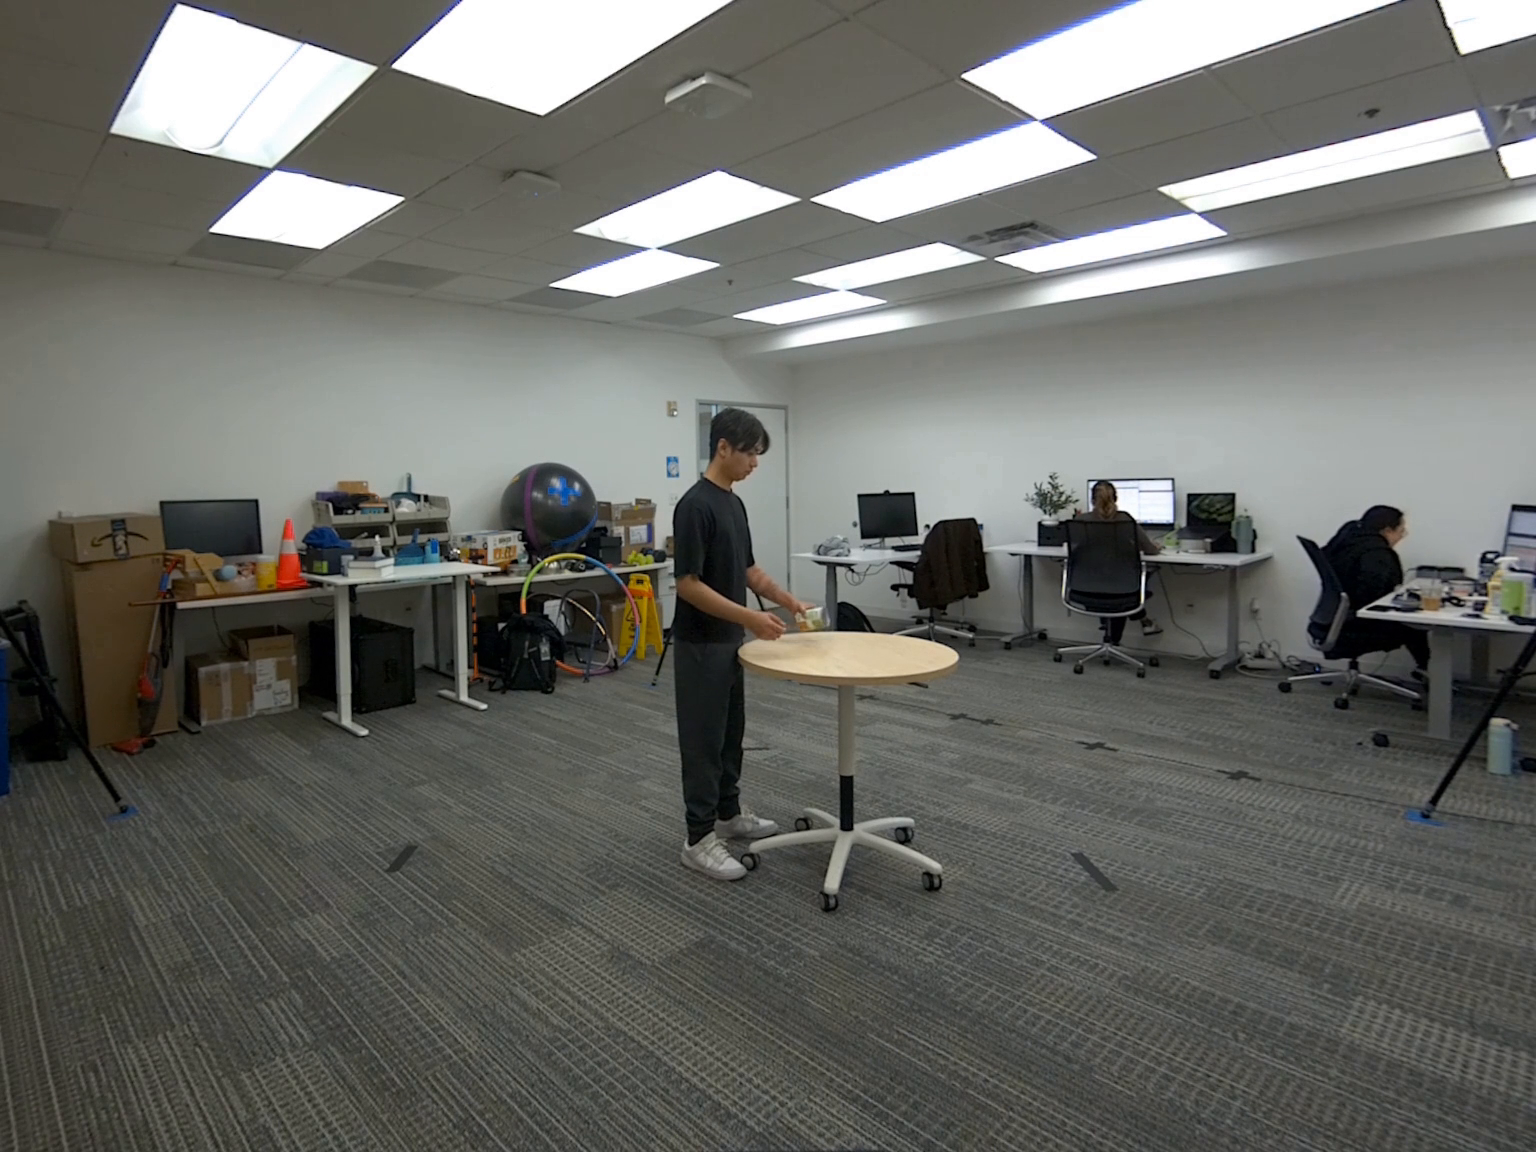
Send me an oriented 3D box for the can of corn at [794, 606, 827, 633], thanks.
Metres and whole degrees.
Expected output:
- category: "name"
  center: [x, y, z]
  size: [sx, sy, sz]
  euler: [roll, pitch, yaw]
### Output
- category: "can of corn"
  center: [0.148, 0.169, 3.202]
  size: [0.113, 0.074, 0.073]
  euler: [-13, -1, 26]
